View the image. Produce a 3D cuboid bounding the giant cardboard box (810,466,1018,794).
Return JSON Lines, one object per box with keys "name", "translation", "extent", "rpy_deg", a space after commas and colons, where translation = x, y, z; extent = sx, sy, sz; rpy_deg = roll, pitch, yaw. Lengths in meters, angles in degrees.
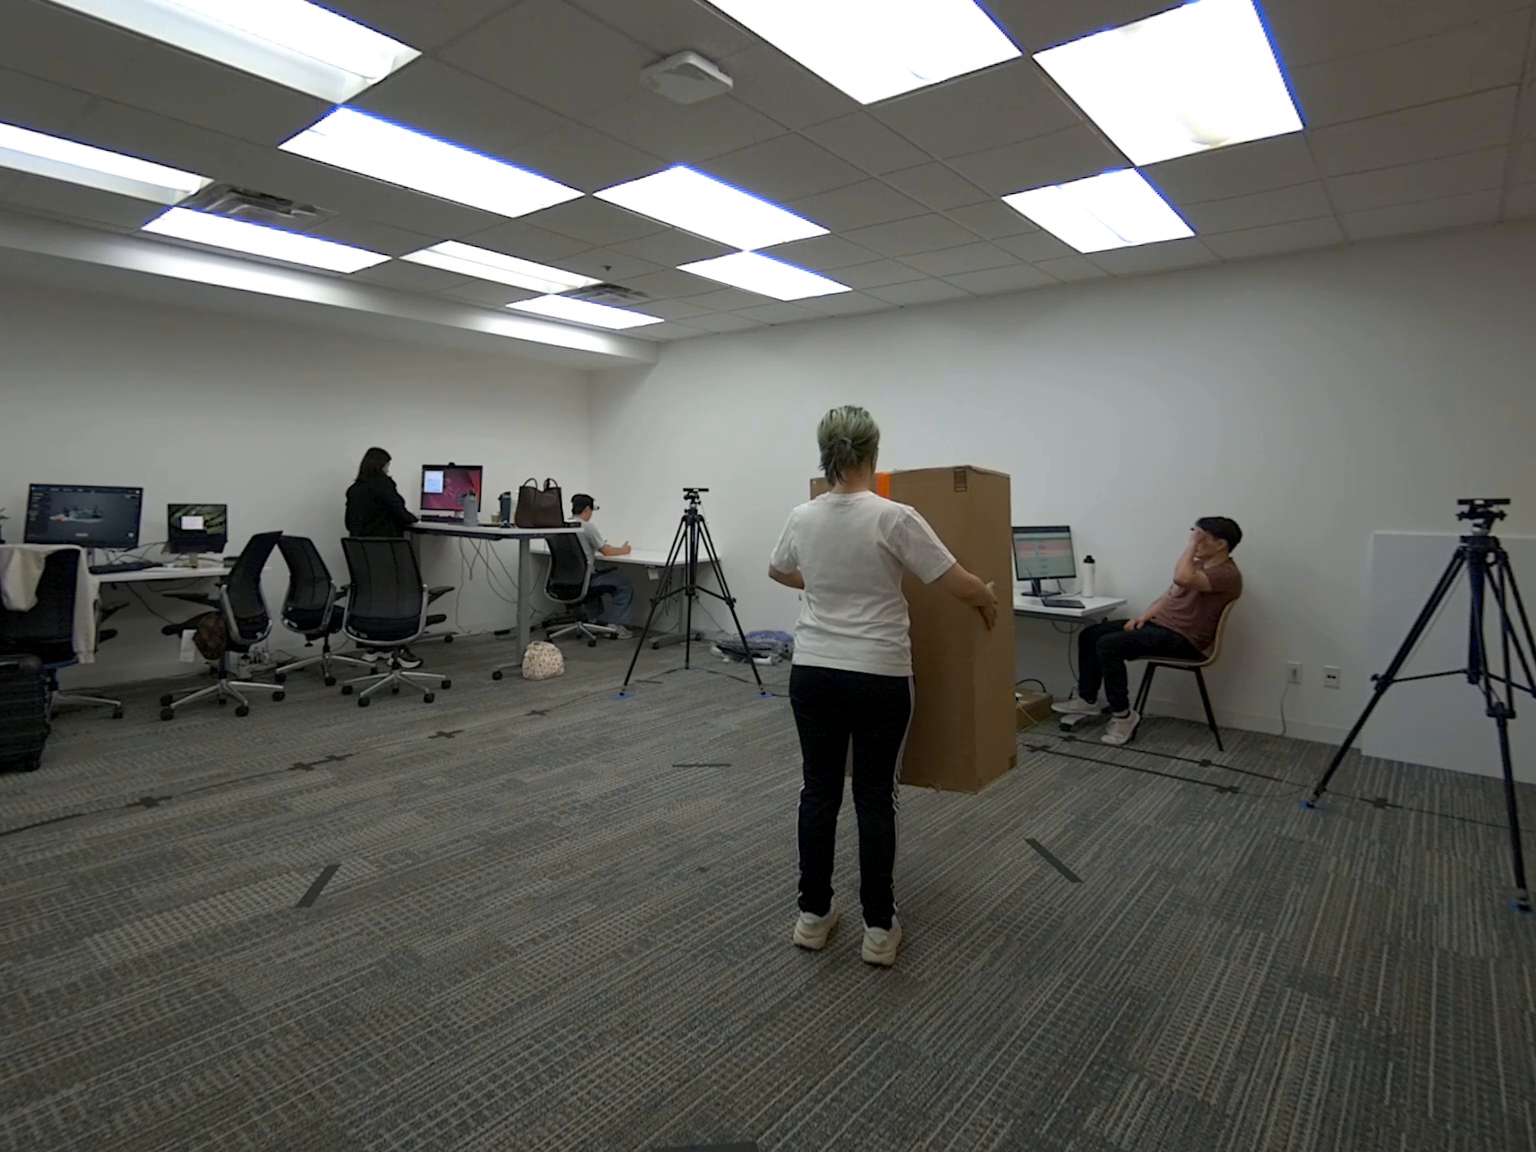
{"name": "giant cardboard box", "translation": [0.497, 0.162, 2.968], "extent": [0.594, 1.028, 0.413], "rpy_deg": [-2, -2, 35]}
